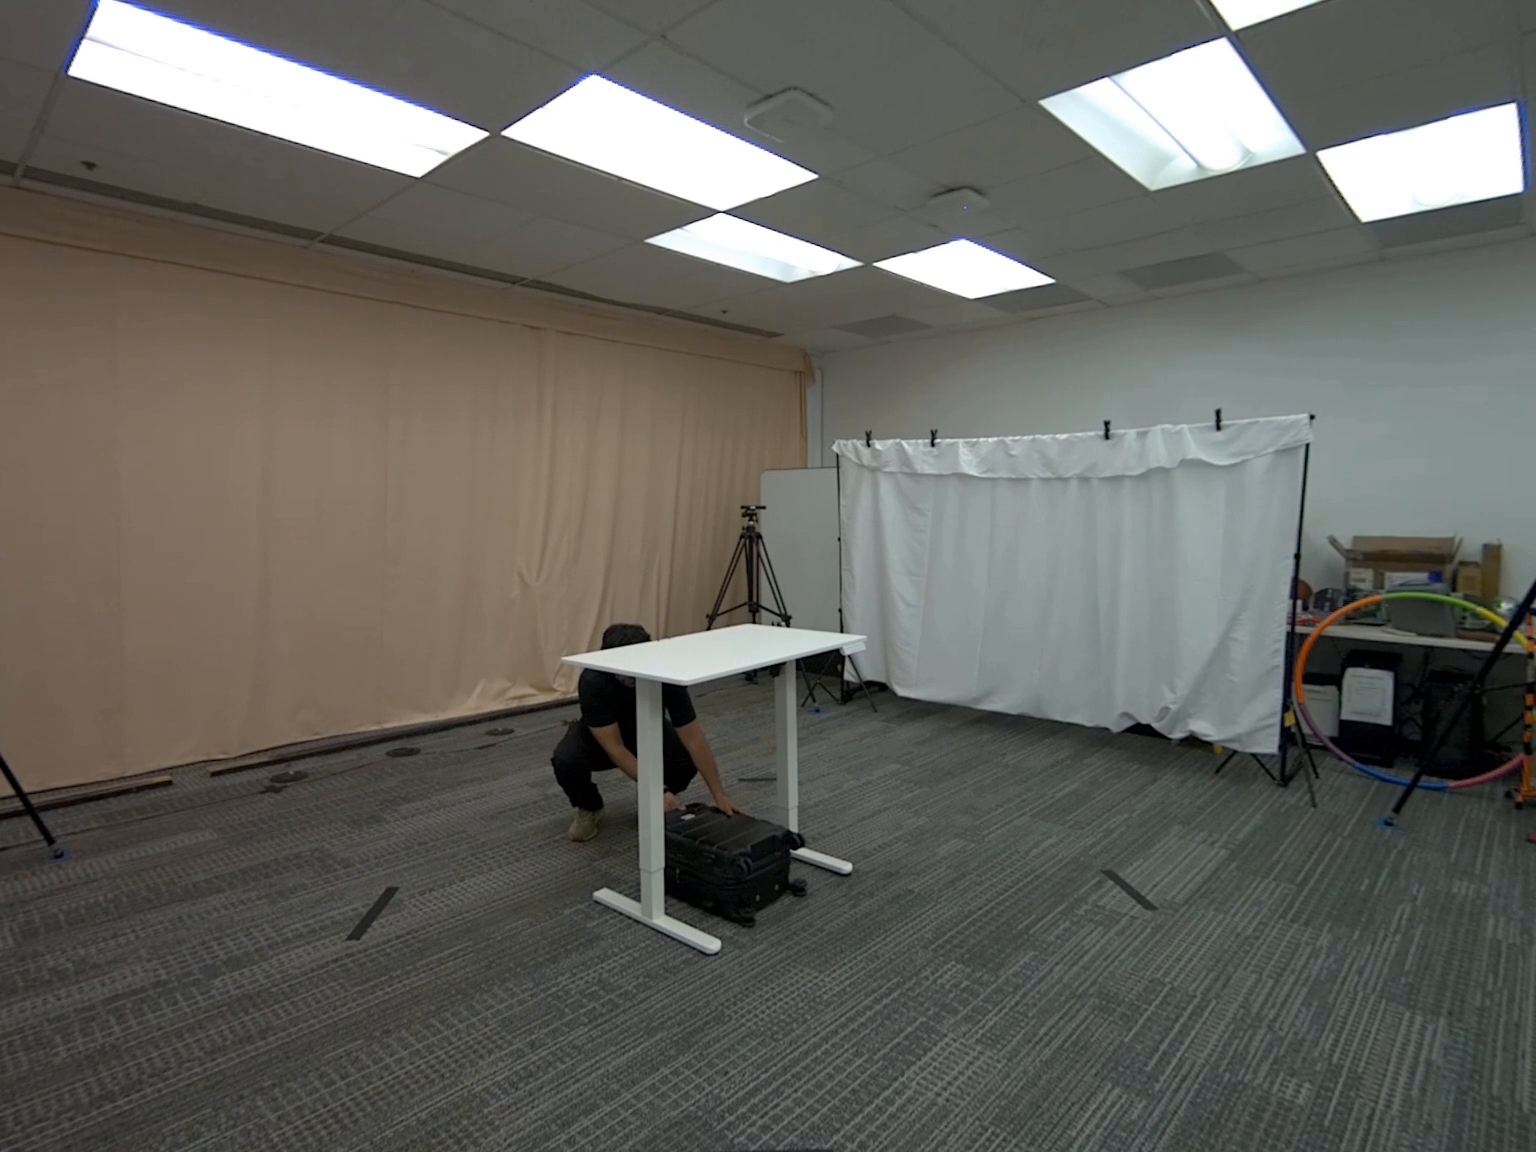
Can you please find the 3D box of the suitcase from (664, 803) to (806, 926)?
[{"bbox_3d":[-0.181,1.022,3.052,0.567,0.247,0.364,4,6,39],"label":"suitcase"}]
